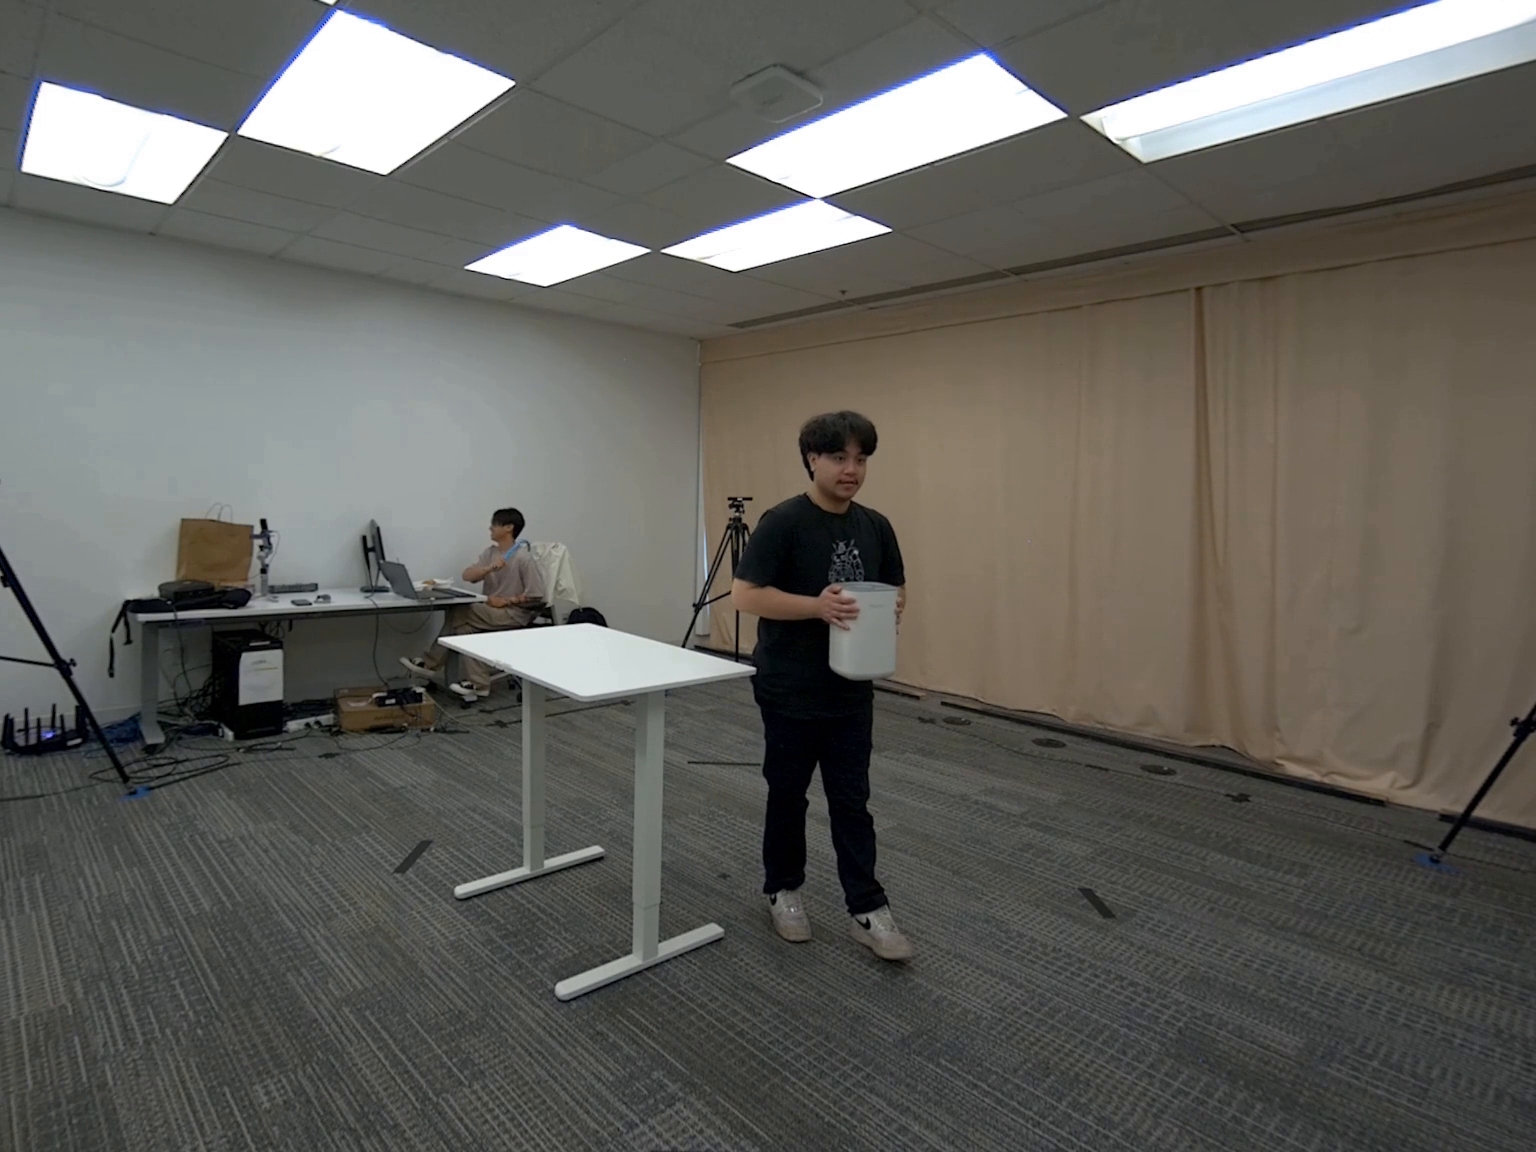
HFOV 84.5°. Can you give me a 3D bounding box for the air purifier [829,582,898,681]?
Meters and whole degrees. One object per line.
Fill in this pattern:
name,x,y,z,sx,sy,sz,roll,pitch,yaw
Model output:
air purifier,0.266,0.161,2.466,0.169,0.264,0.174,2,5,-15
